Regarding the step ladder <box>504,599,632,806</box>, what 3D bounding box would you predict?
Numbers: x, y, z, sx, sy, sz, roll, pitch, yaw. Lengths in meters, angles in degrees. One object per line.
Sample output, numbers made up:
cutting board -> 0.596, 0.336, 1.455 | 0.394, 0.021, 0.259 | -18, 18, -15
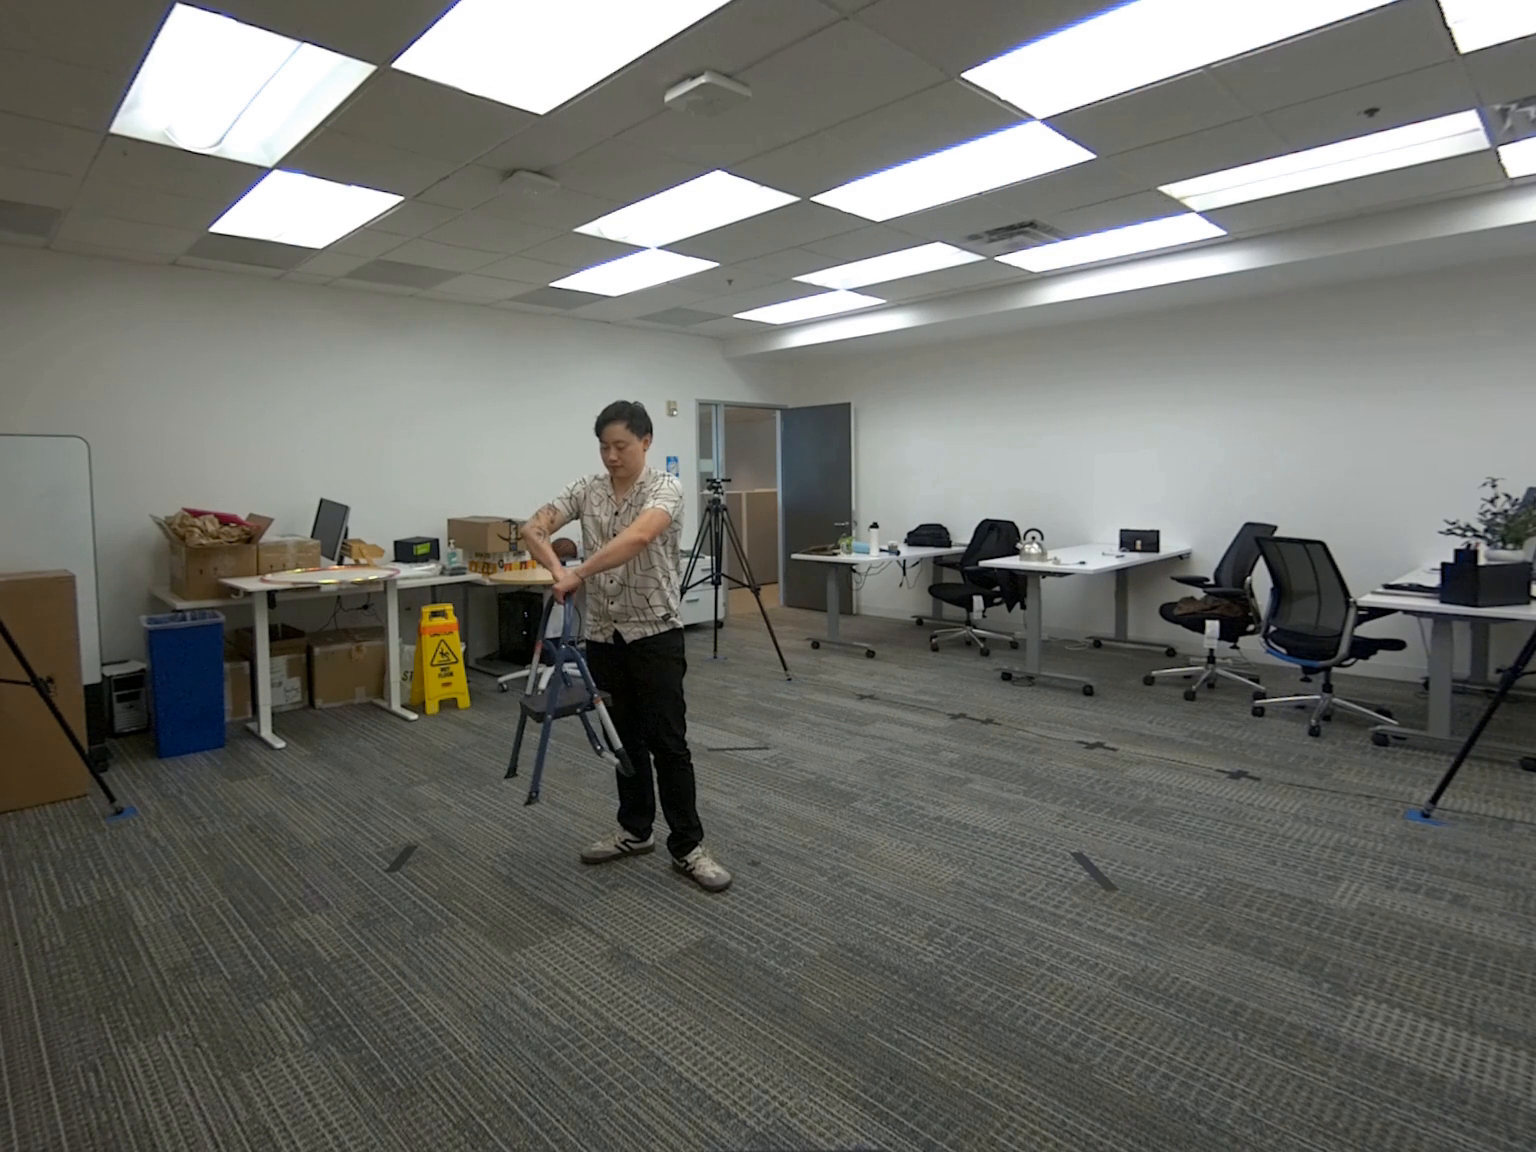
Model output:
step ladder -> -0.703, 0.371, 2.797 | 0.343, 0.606, 0.438 | -9, 0, -24
